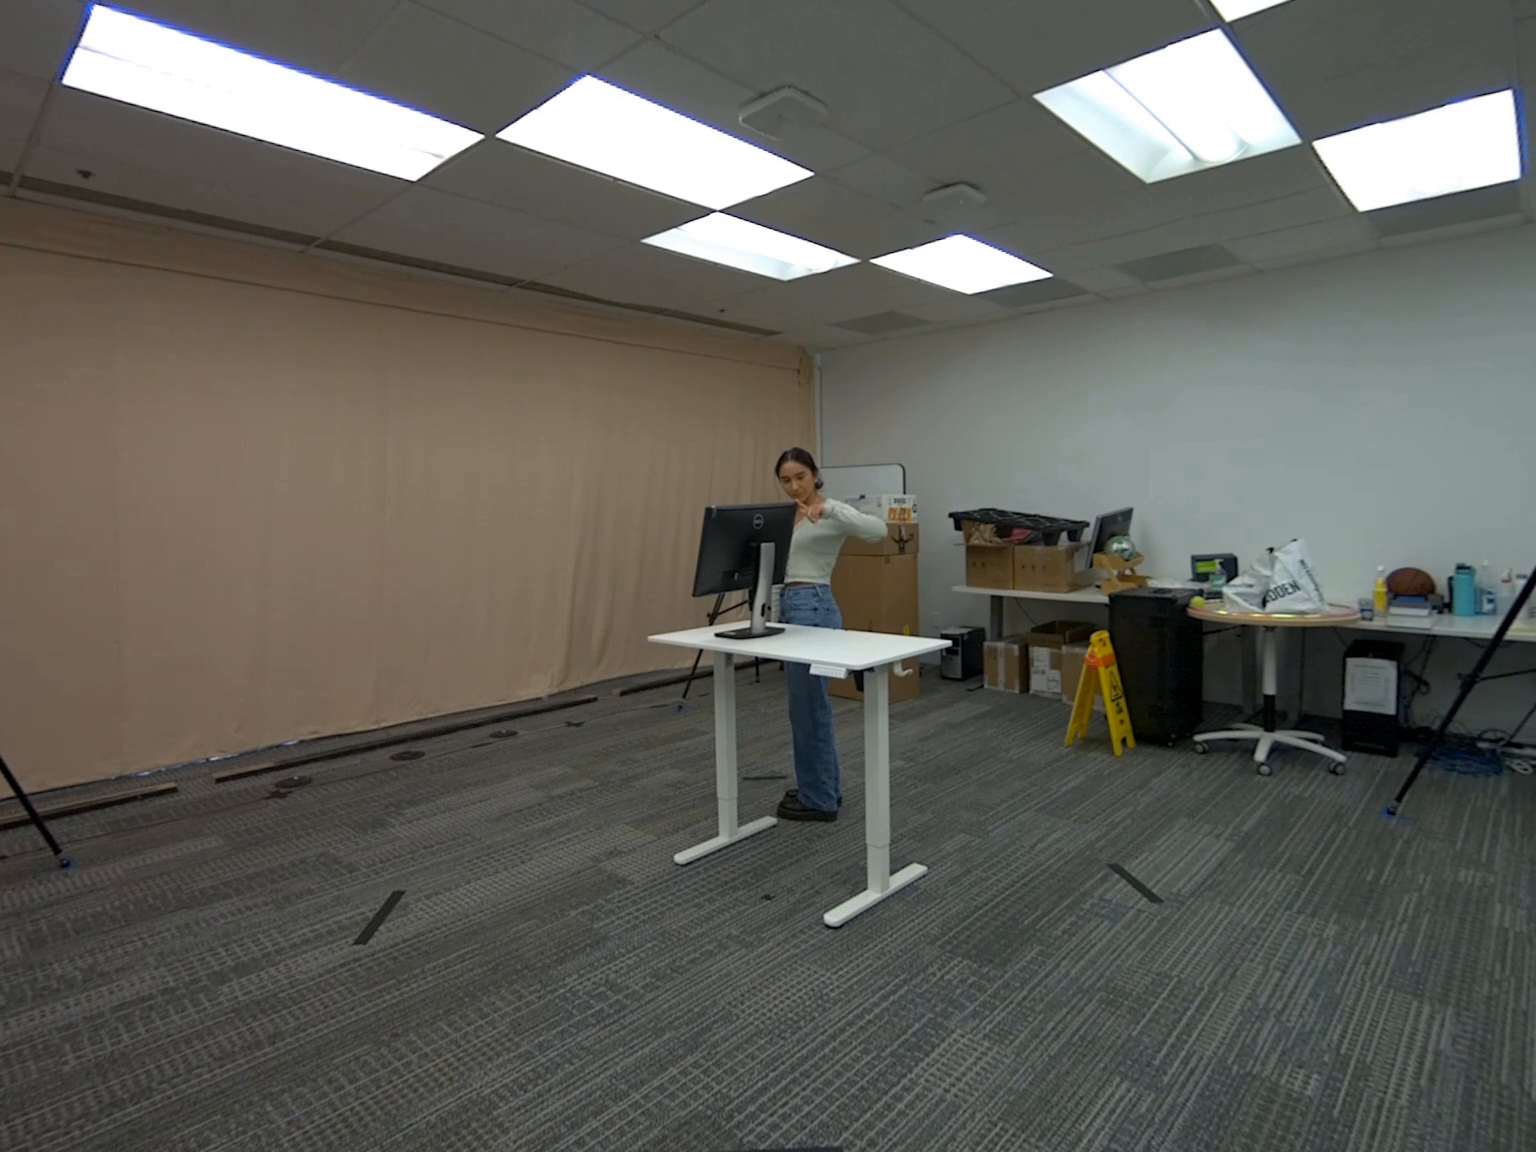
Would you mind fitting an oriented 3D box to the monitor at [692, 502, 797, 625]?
[{"bbox_3d":[-0.050,-0.017,3.295,0.193,0.521,0.523,6,8,42],"label":"monitor"}]
